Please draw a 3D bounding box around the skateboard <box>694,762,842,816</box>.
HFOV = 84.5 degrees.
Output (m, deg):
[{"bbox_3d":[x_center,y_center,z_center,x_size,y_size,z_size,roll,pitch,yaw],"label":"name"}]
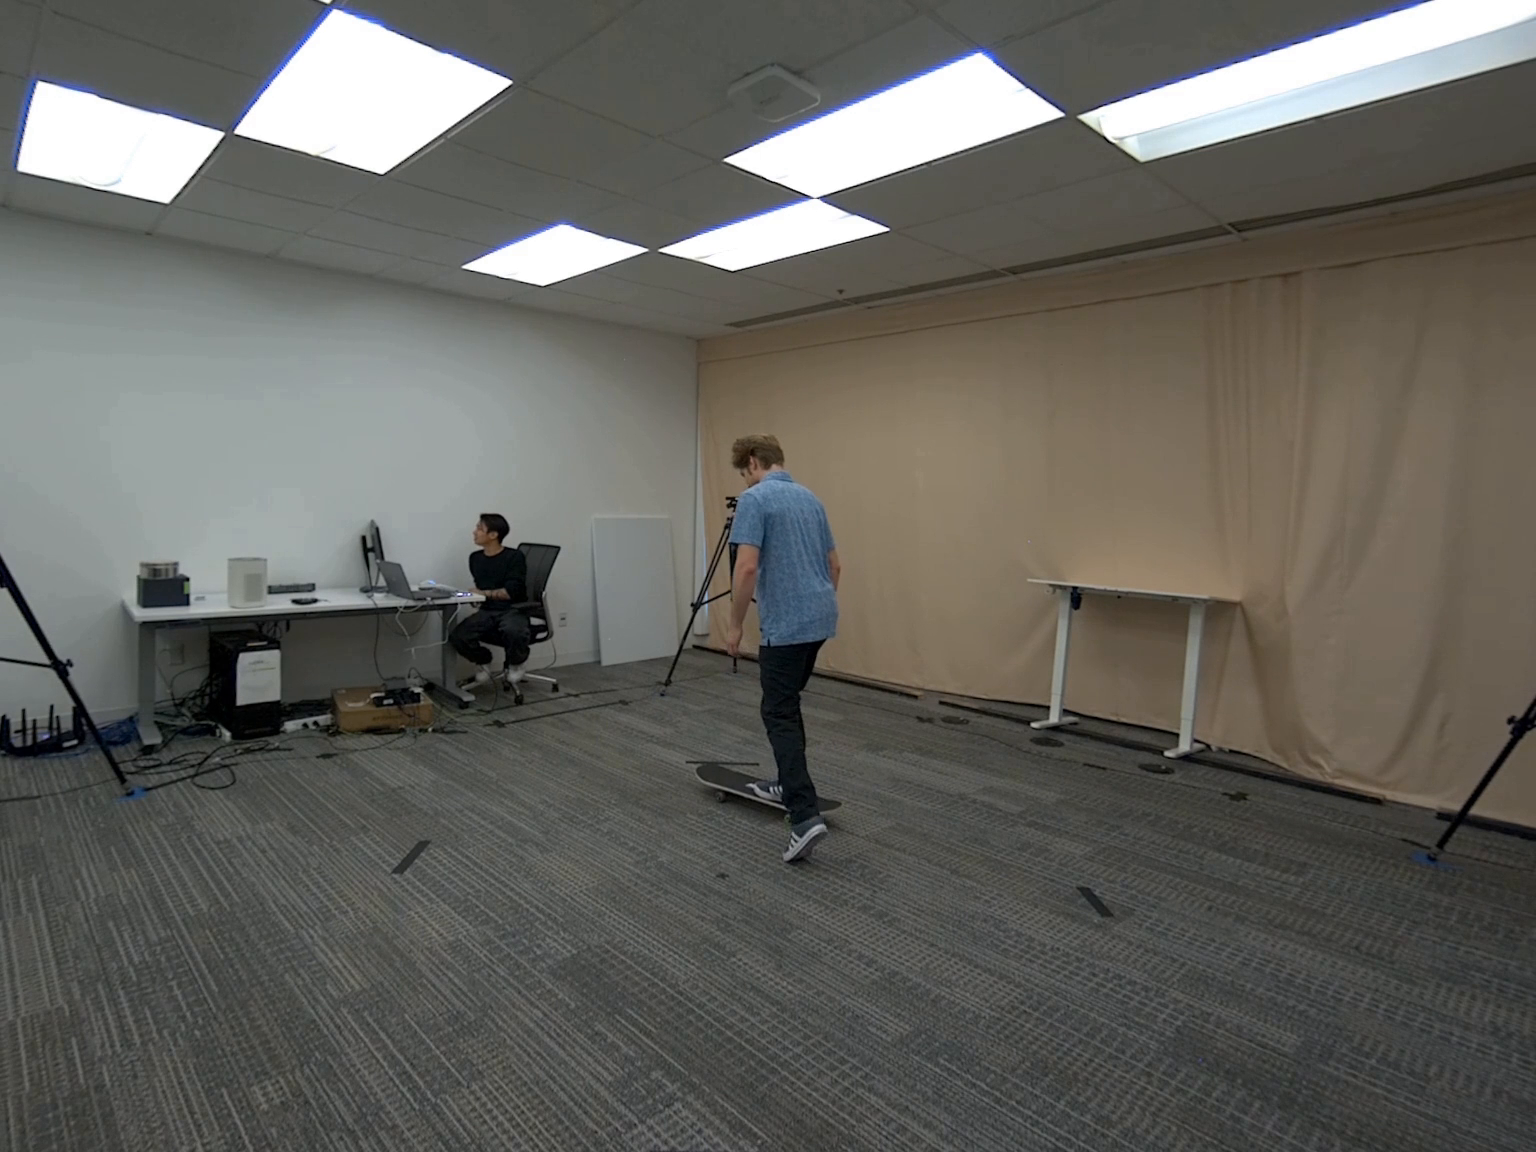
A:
[{"bbox_3d":[-0.027,0.994,3.797,0.805,0.110,0.189,6,9,39],"label":"skateboard"}]
